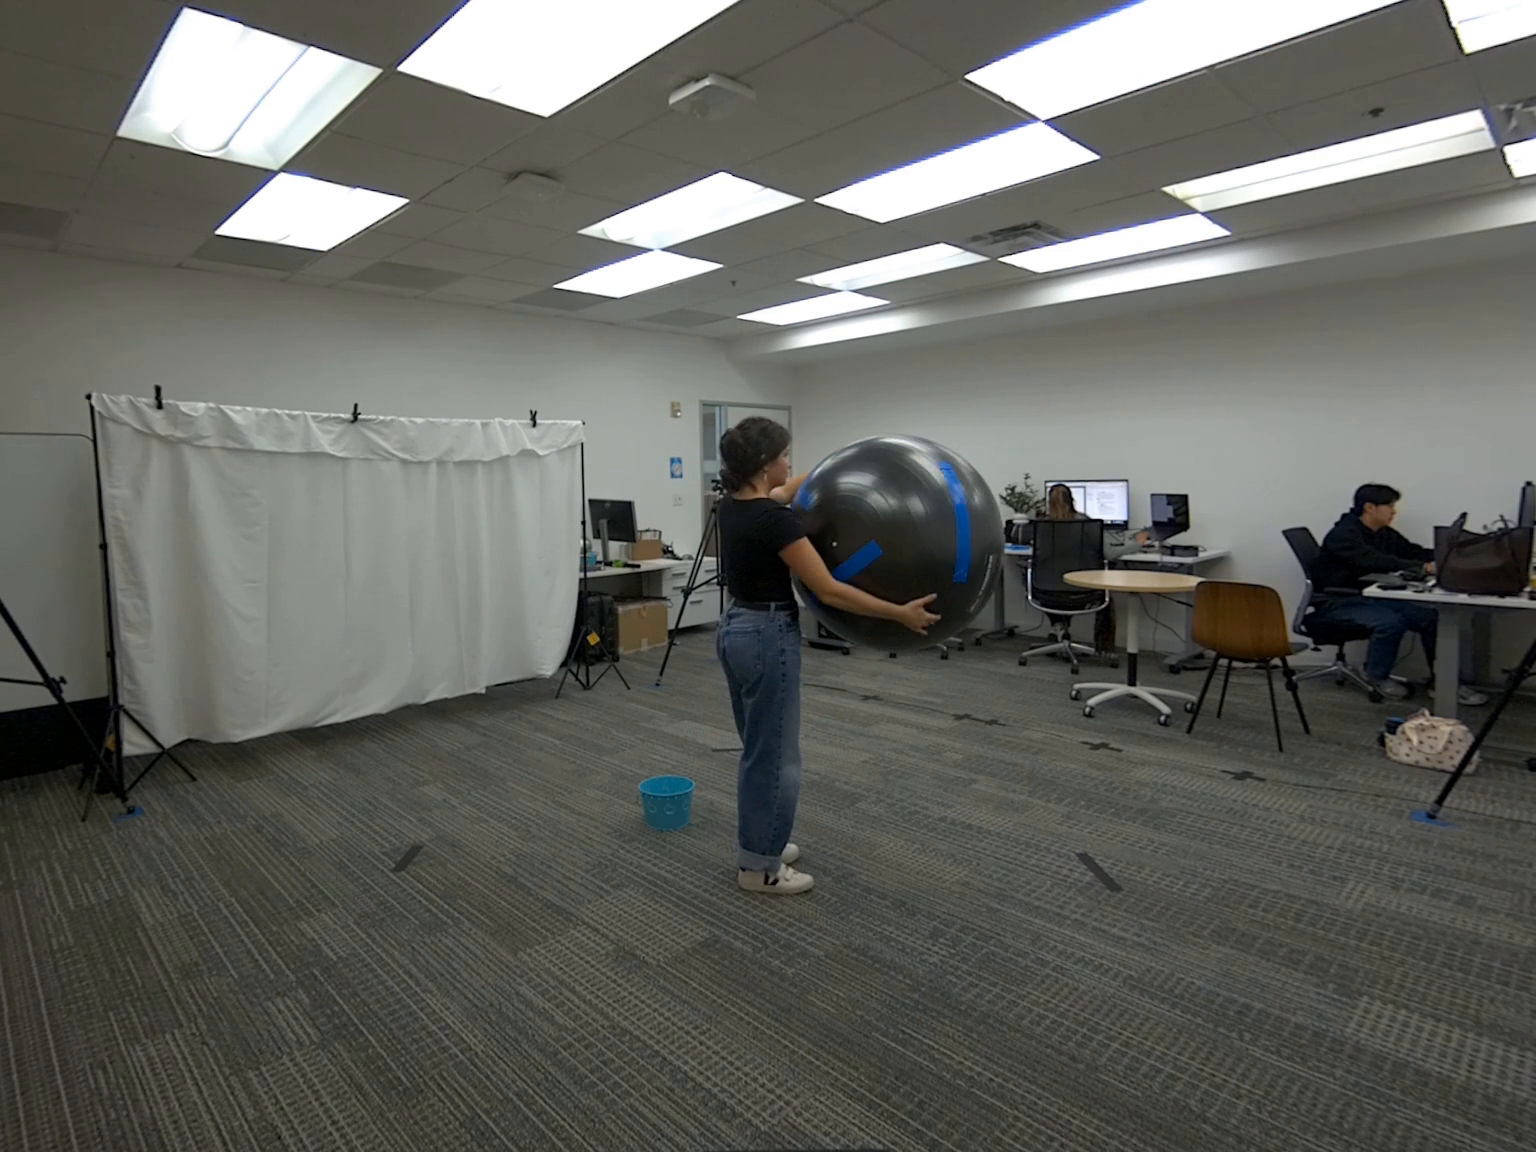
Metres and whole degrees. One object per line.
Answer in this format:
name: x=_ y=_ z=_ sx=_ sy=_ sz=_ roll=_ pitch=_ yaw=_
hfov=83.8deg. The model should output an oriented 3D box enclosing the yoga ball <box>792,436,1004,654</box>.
yoga ball: x=0.445 y=-0.116 z=3.009 sx=0.757 sy=0.755 sz=0.762 roll=-1 pitch=5 yaw=-2
